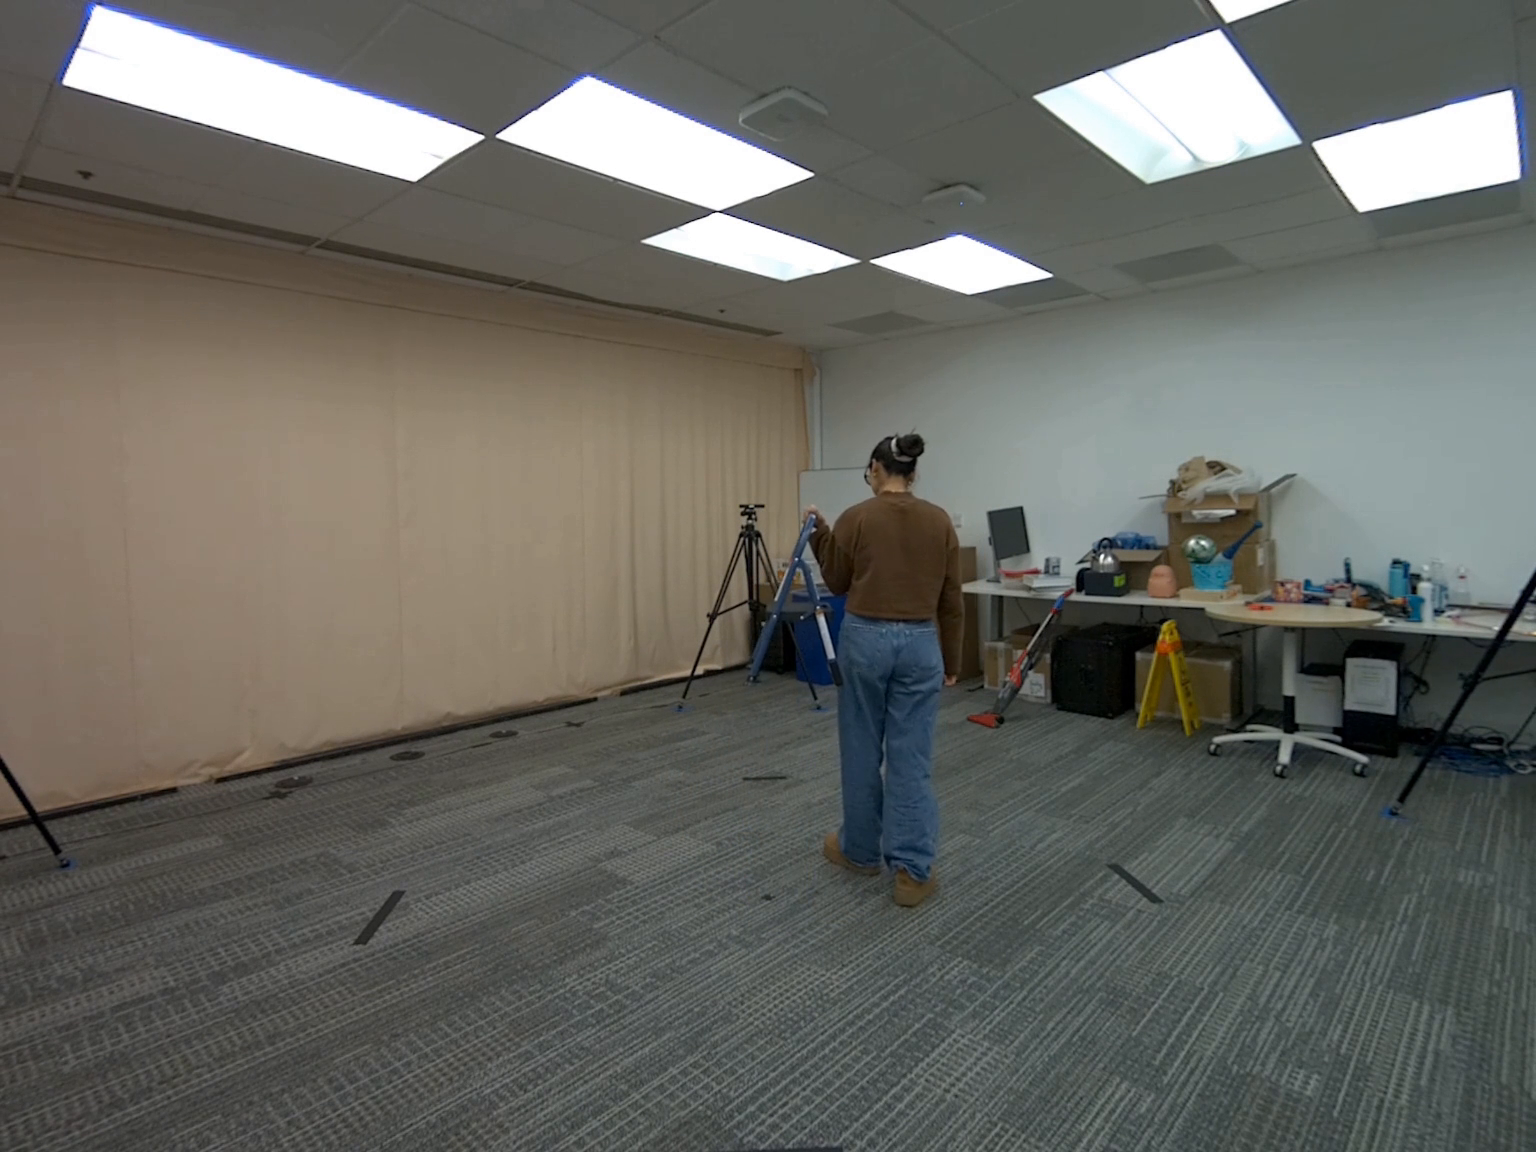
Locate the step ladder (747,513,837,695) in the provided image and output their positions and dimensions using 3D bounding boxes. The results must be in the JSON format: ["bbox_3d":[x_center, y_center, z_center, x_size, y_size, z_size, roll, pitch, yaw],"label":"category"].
[{"bbox_3d":[0.098,0.071,3.150,0.350,0.606,0.429,1,0,1],"label":"step ladder"}]
